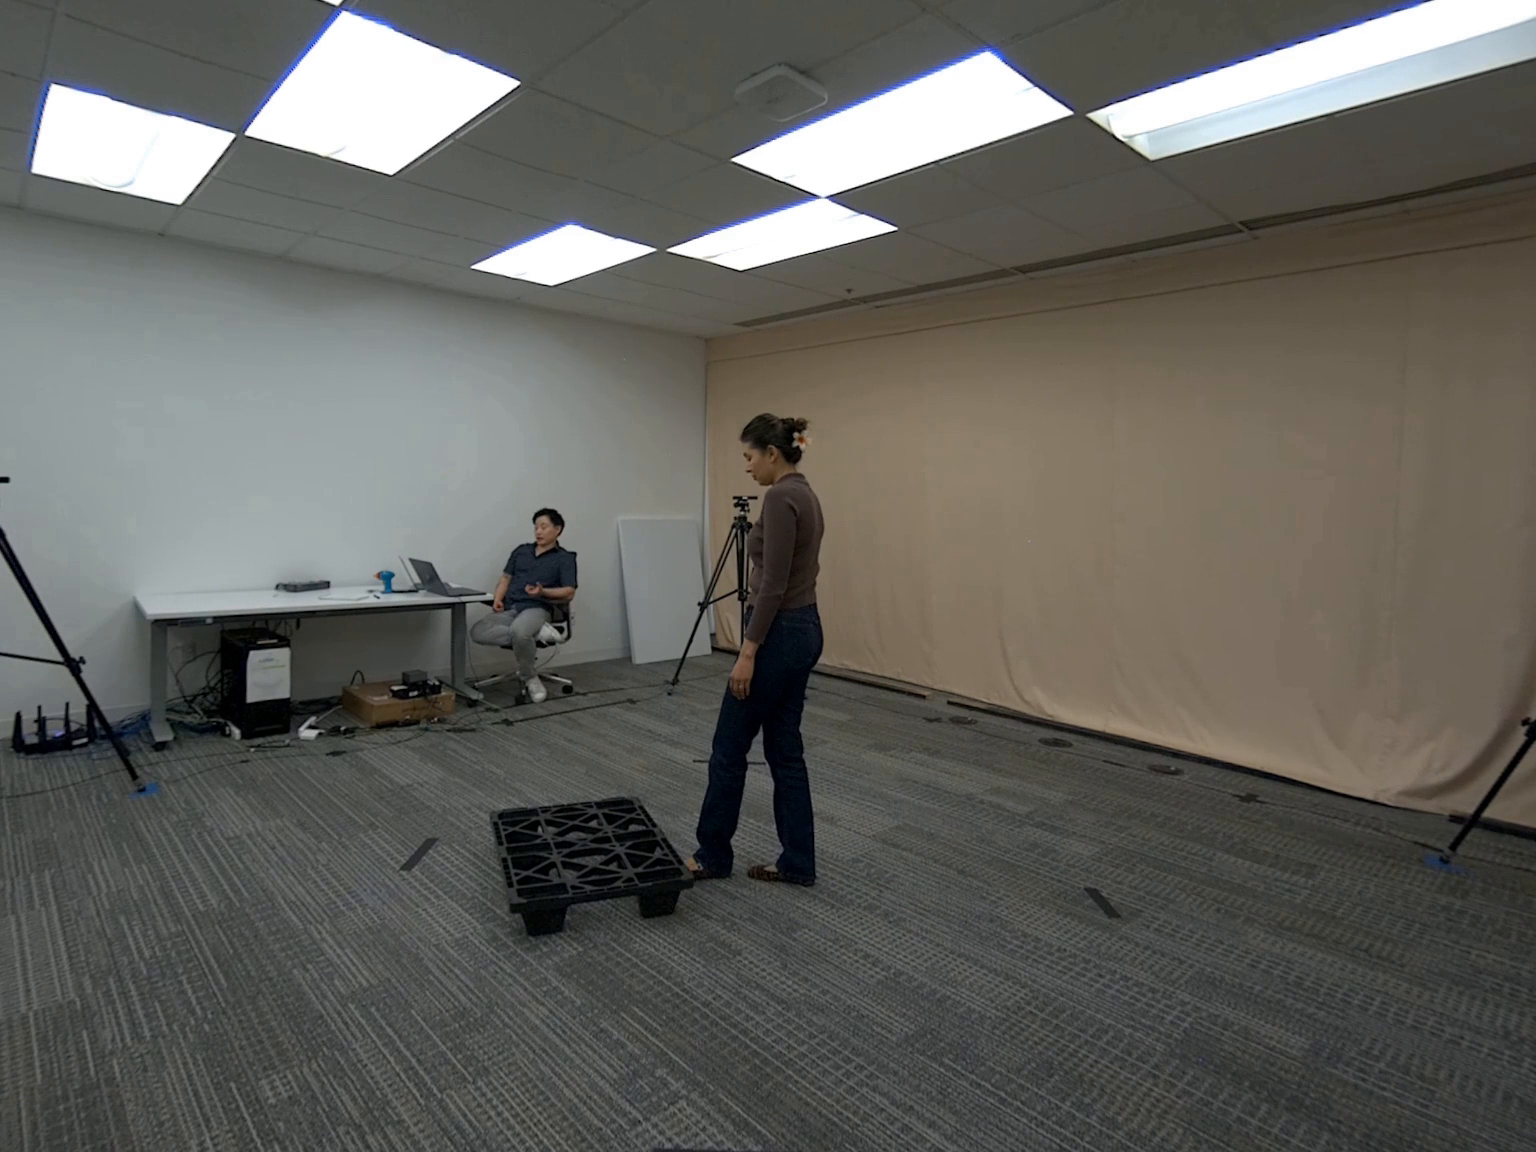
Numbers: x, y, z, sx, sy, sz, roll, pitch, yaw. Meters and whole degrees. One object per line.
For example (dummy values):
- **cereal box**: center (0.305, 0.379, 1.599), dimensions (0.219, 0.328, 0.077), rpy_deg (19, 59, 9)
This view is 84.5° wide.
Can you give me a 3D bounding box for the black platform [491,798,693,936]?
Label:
- **black platform**: center (-0.676, 1.030, 3.057), dimensions (0.595, 0.143, 0.821), rpy_deg (0, 6, -22)
